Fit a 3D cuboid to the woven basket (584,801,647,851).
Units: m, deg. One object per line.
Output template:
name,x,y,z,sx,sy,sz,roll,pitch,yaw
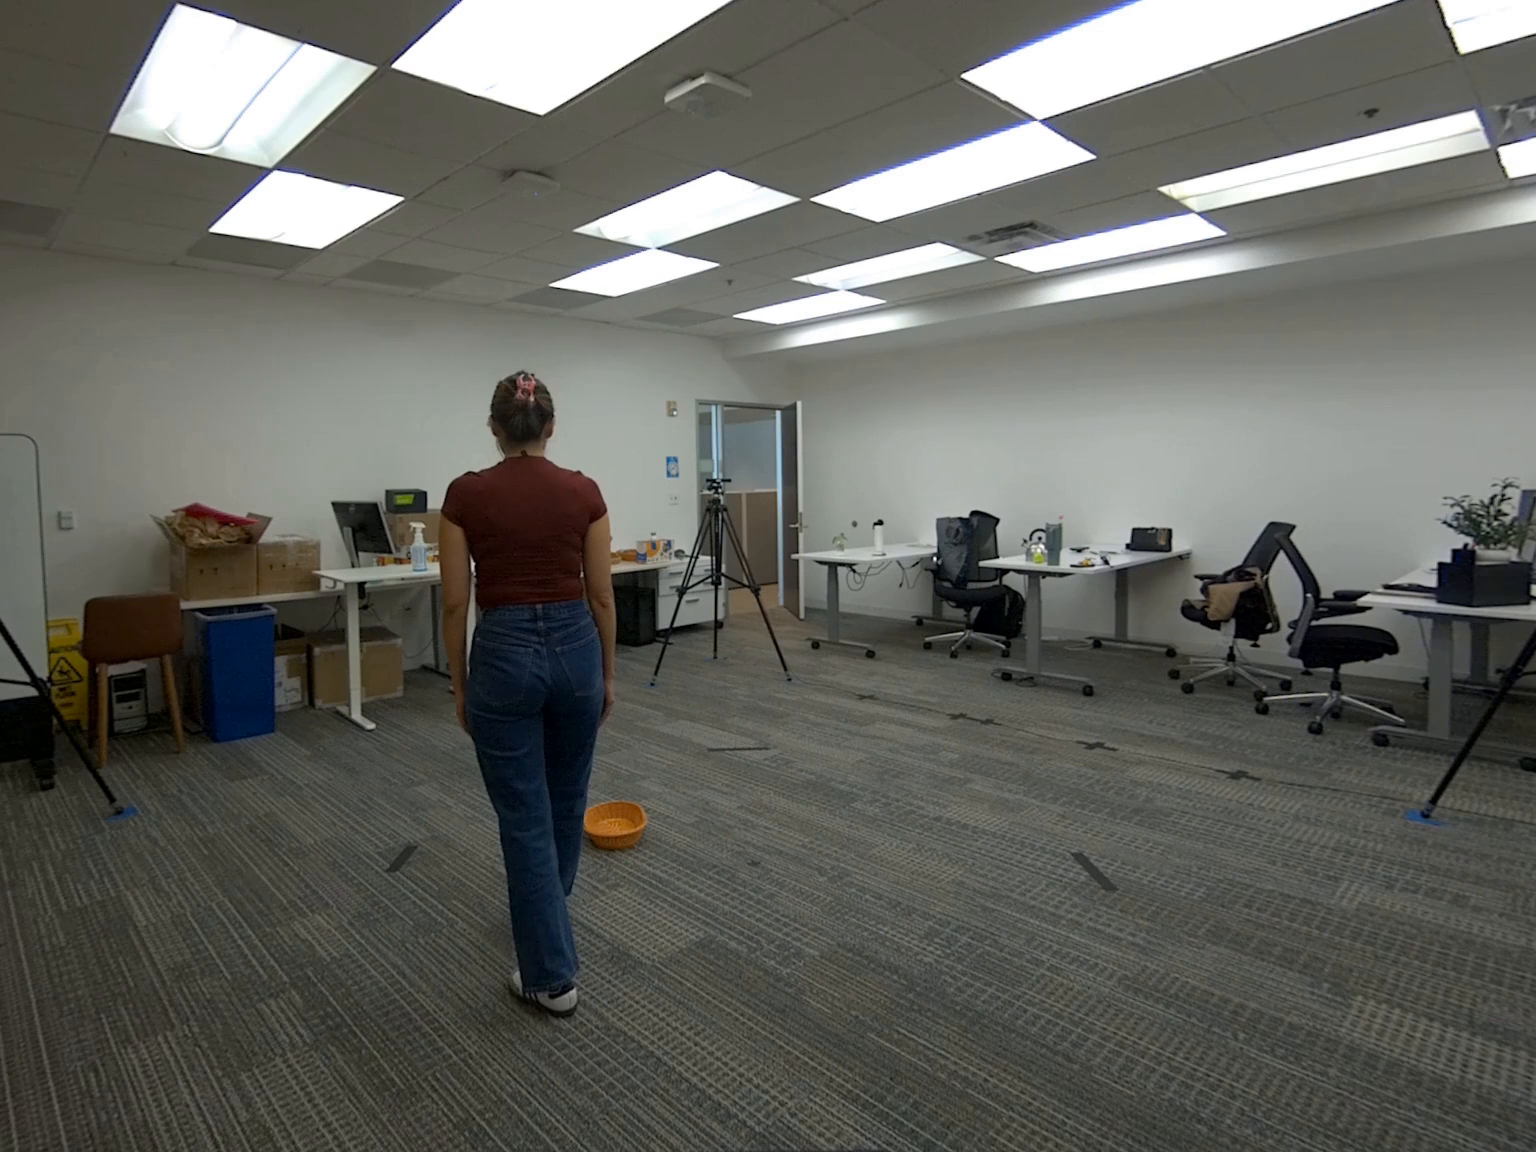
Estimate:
woven basket,-0.608,0.987,3.375,0.249,0.073,0.356,-4,7,-13
